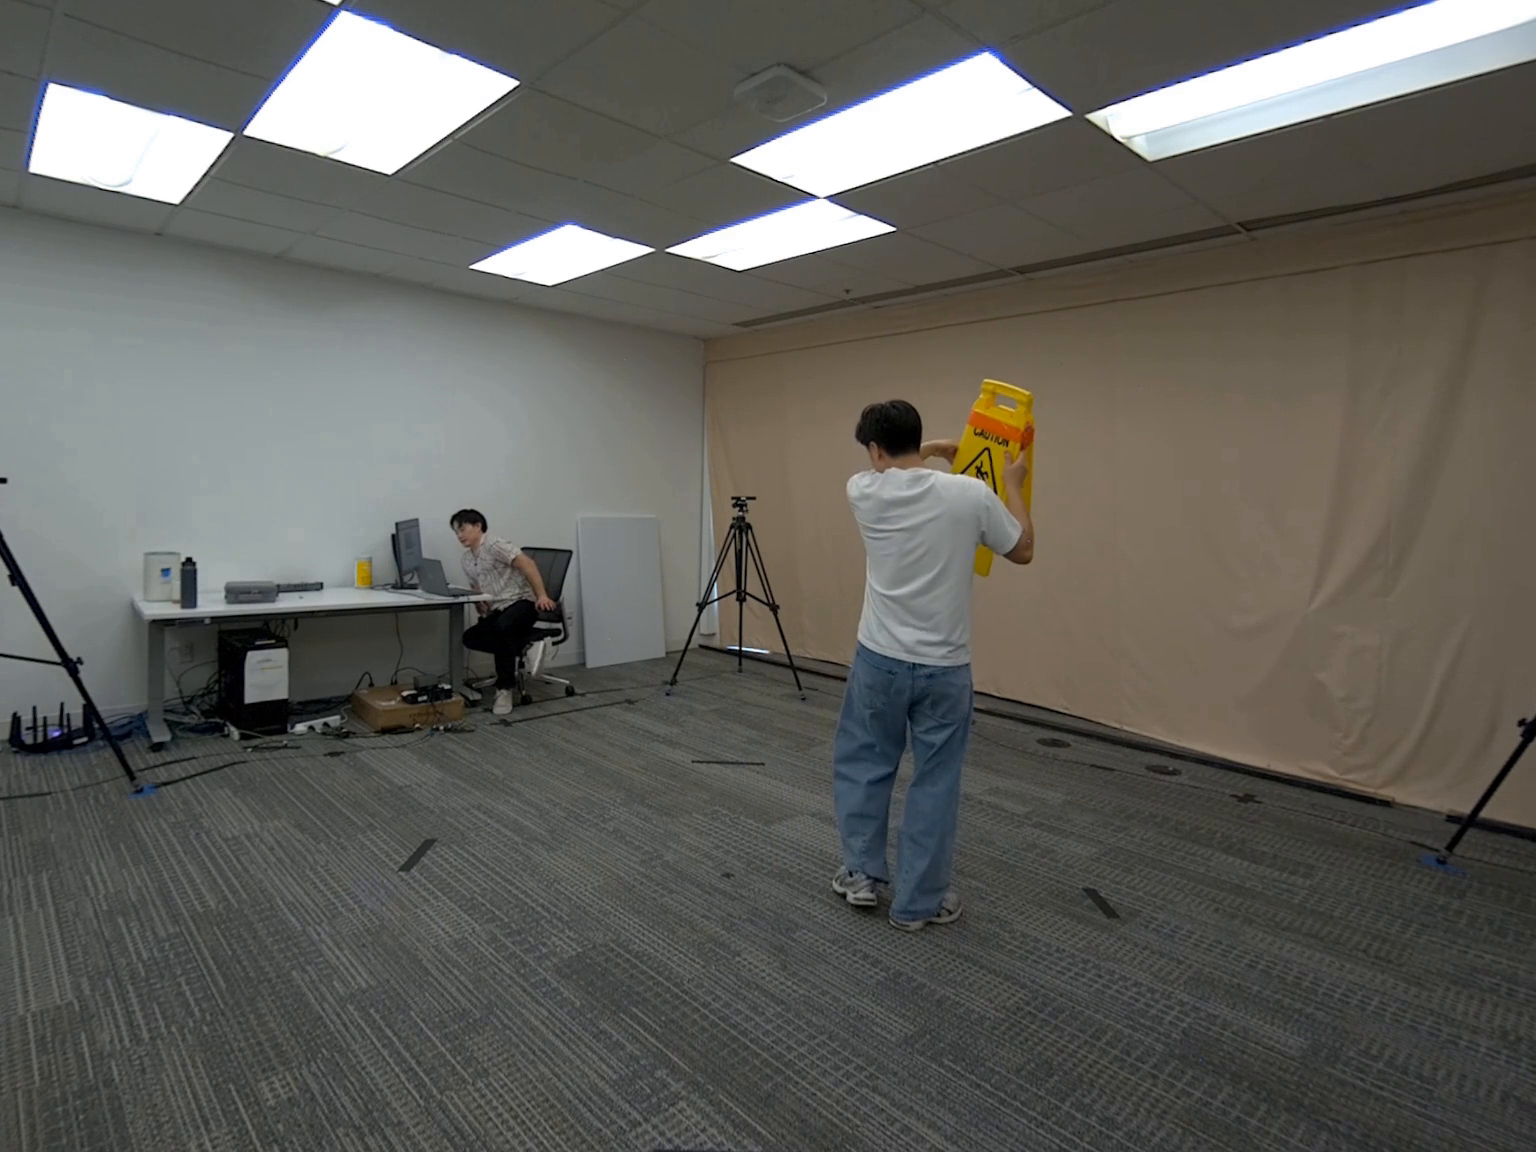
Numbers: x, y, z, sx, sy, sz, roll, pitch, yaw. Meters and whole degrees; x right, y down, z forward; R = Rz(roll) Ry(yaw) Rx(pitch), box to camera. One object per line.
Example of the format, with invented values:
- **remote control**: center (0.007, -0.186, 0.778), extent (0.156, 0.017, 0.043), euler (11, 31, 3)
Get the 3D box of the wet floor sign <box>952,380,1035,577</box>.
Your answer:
- **wet floor sign**: center (0.781, -0.355, 2.989), extent (0.285, 0.635, 0.291), euler (-15, 31, -31)
